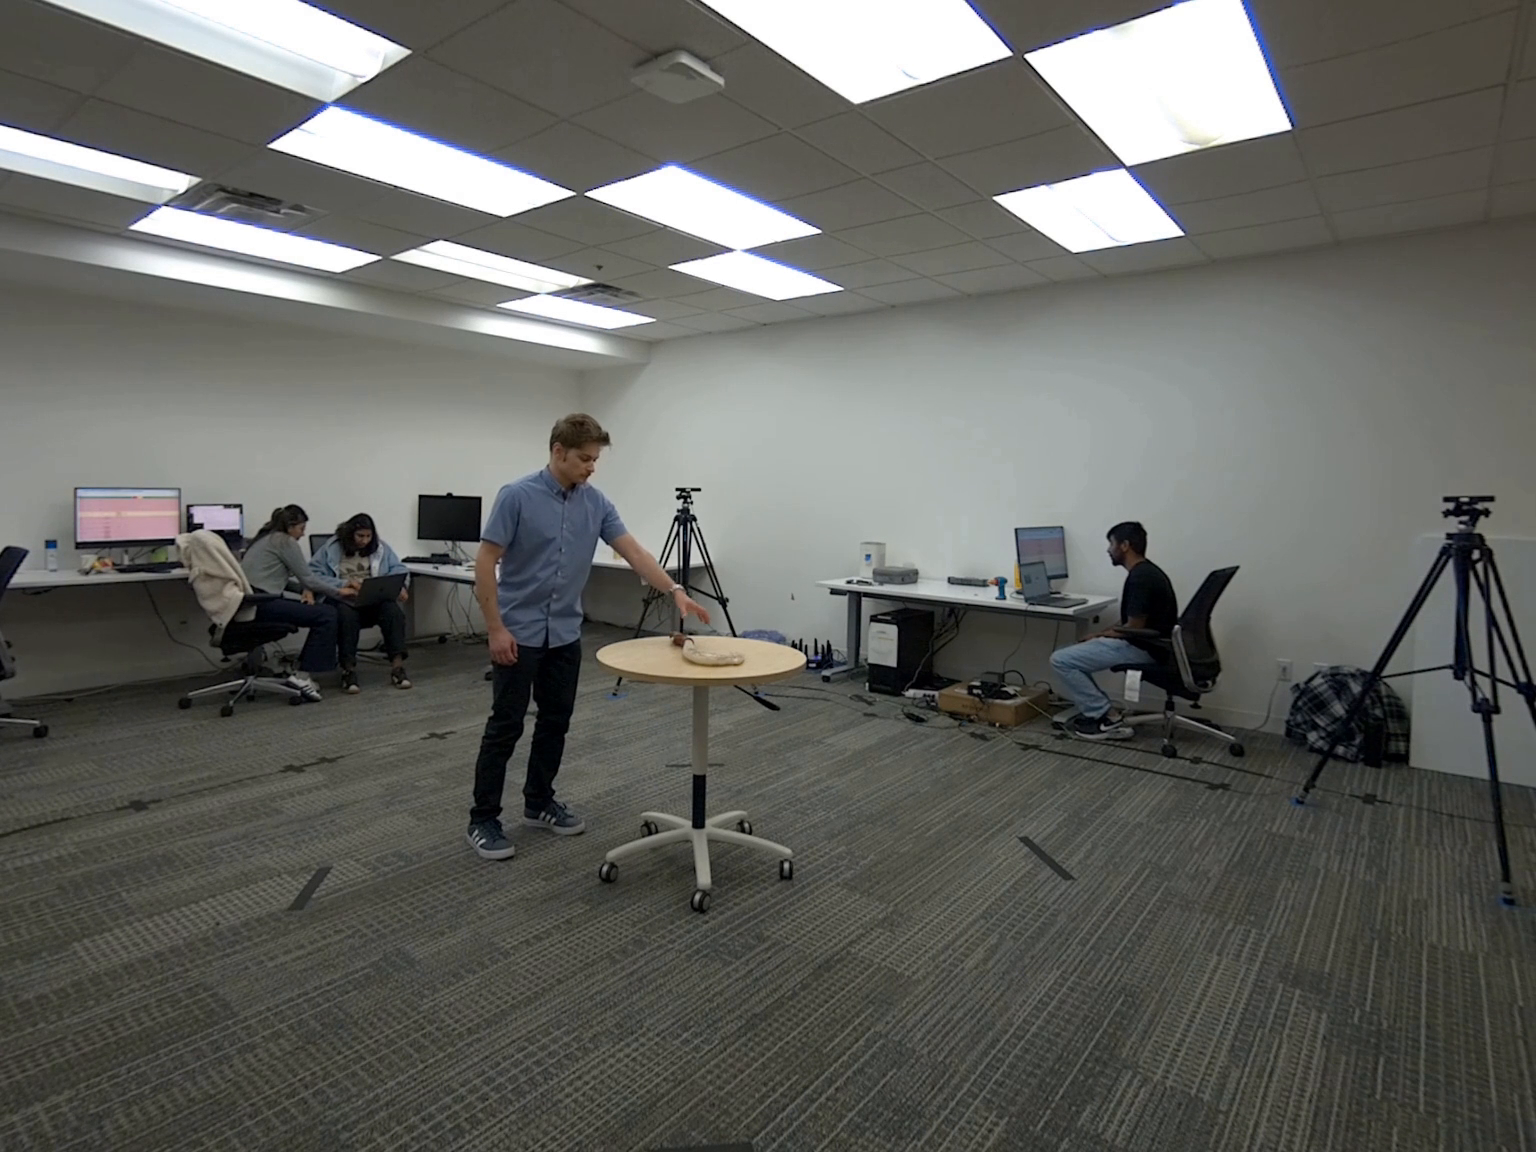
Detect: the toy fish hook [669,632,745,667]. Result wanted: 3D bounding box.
[{"bbox_3d":[-0.240,0.268,3.143,0.220,0.048,0.518,6,5,-19],"label":"toy fish hook"}]
